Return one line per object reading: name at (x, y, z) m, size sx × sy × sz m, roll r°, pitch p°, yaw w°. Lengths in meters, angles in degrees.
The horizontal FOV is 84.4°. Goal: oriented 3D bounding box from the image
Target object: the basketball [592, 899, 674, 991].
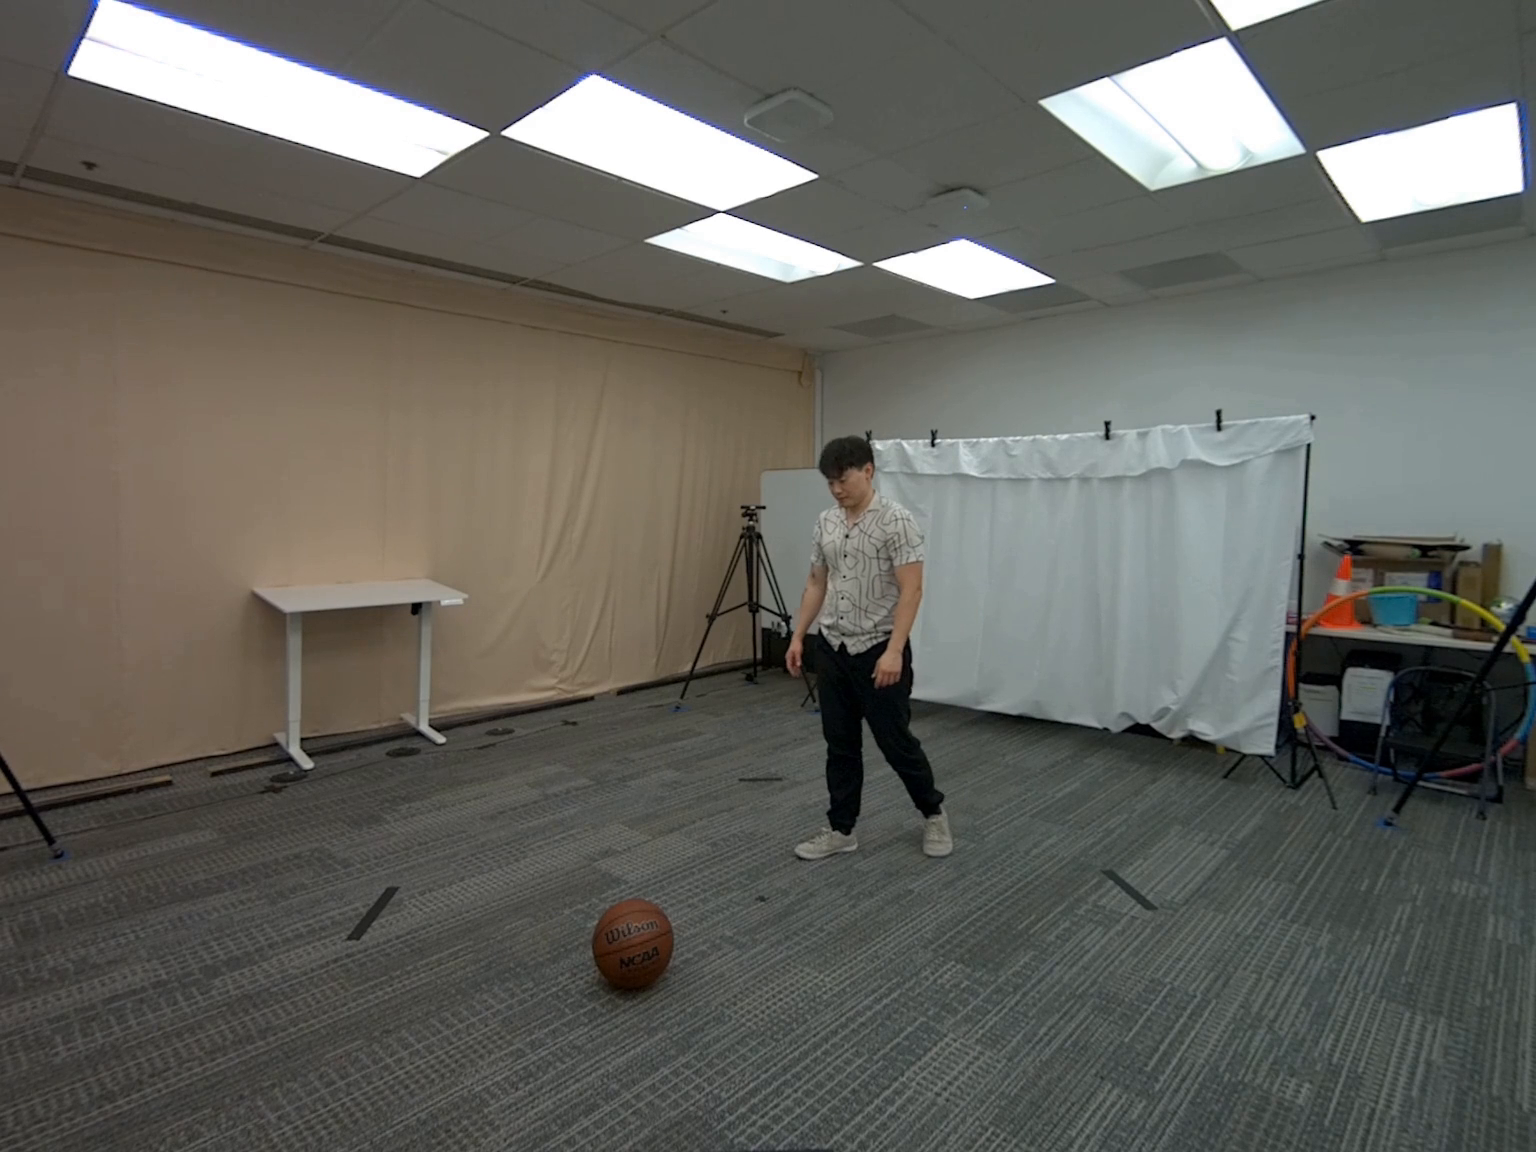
basketball at (-0.389, 1.069, 2.455) m, size 0.236 × 0.235 × 0.237 m, roll 0°, pitch 4°, yaw -2°
